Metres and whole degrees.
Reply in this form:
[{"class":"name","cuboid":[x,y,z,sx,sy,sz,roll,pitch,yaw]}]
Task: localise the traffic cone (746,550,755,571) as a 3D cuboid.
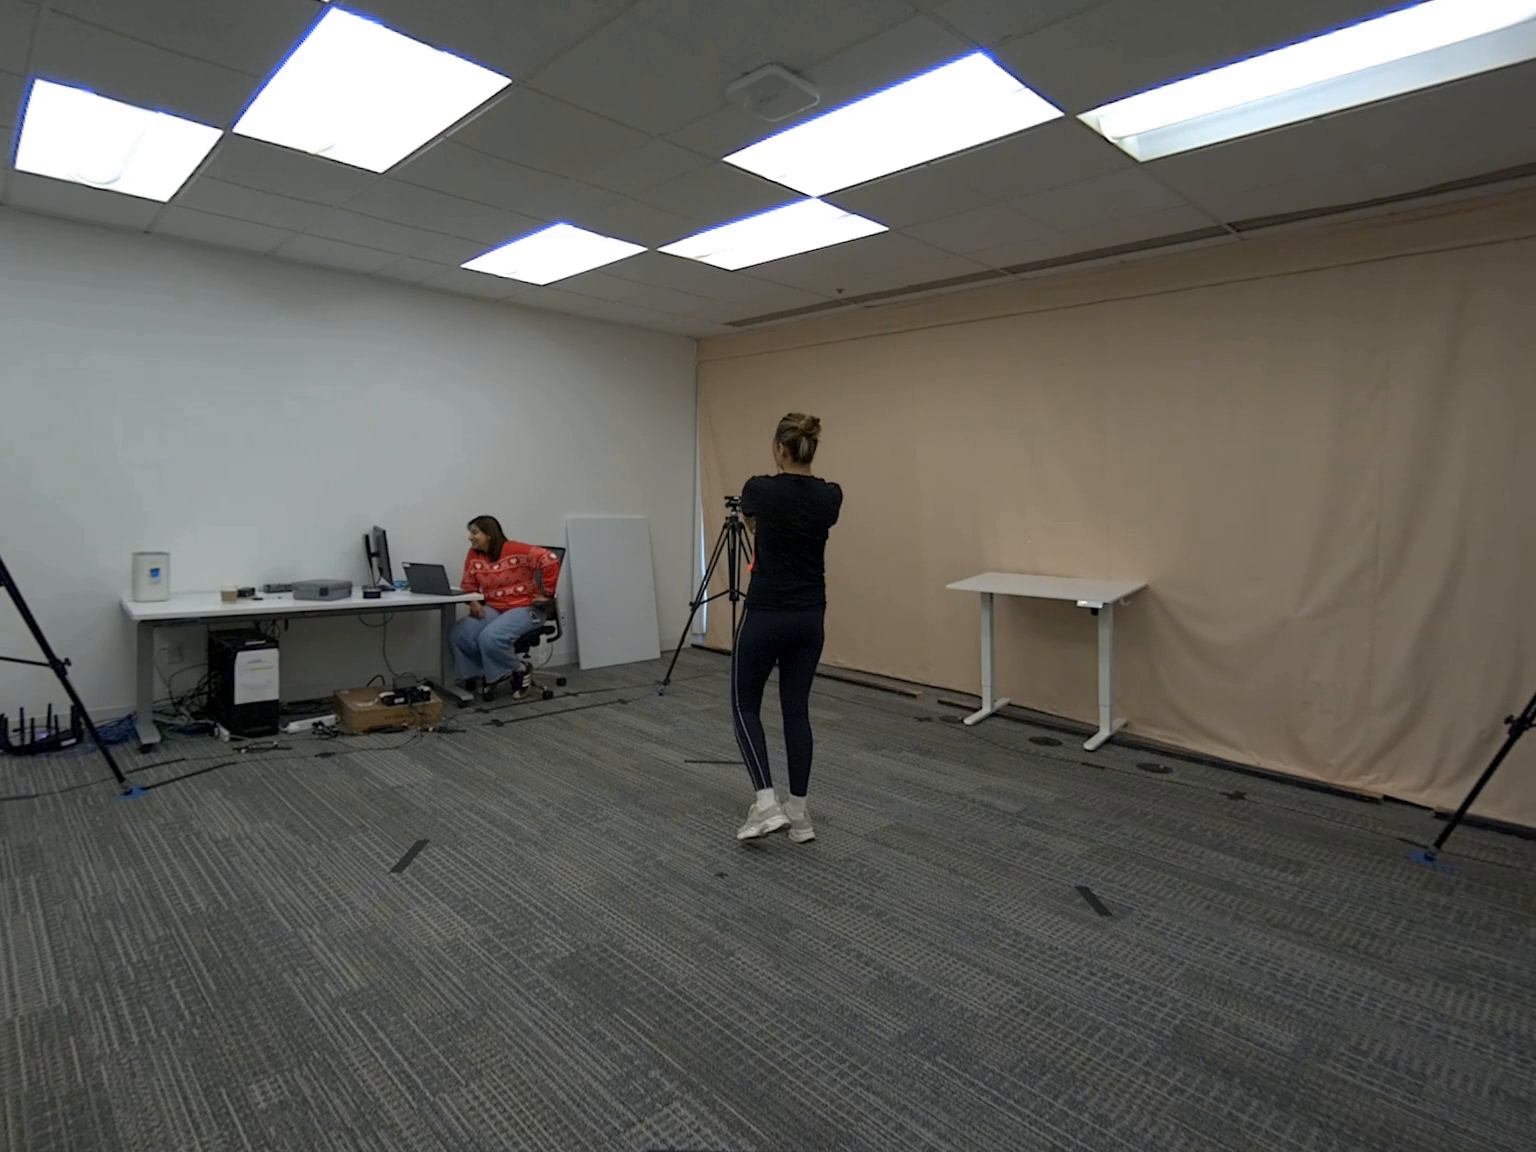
[{"class":"traffic cone","cuboid":[-0.014,-0.239,4.064,0.210,0.381,0.200,5,11,33]}]
